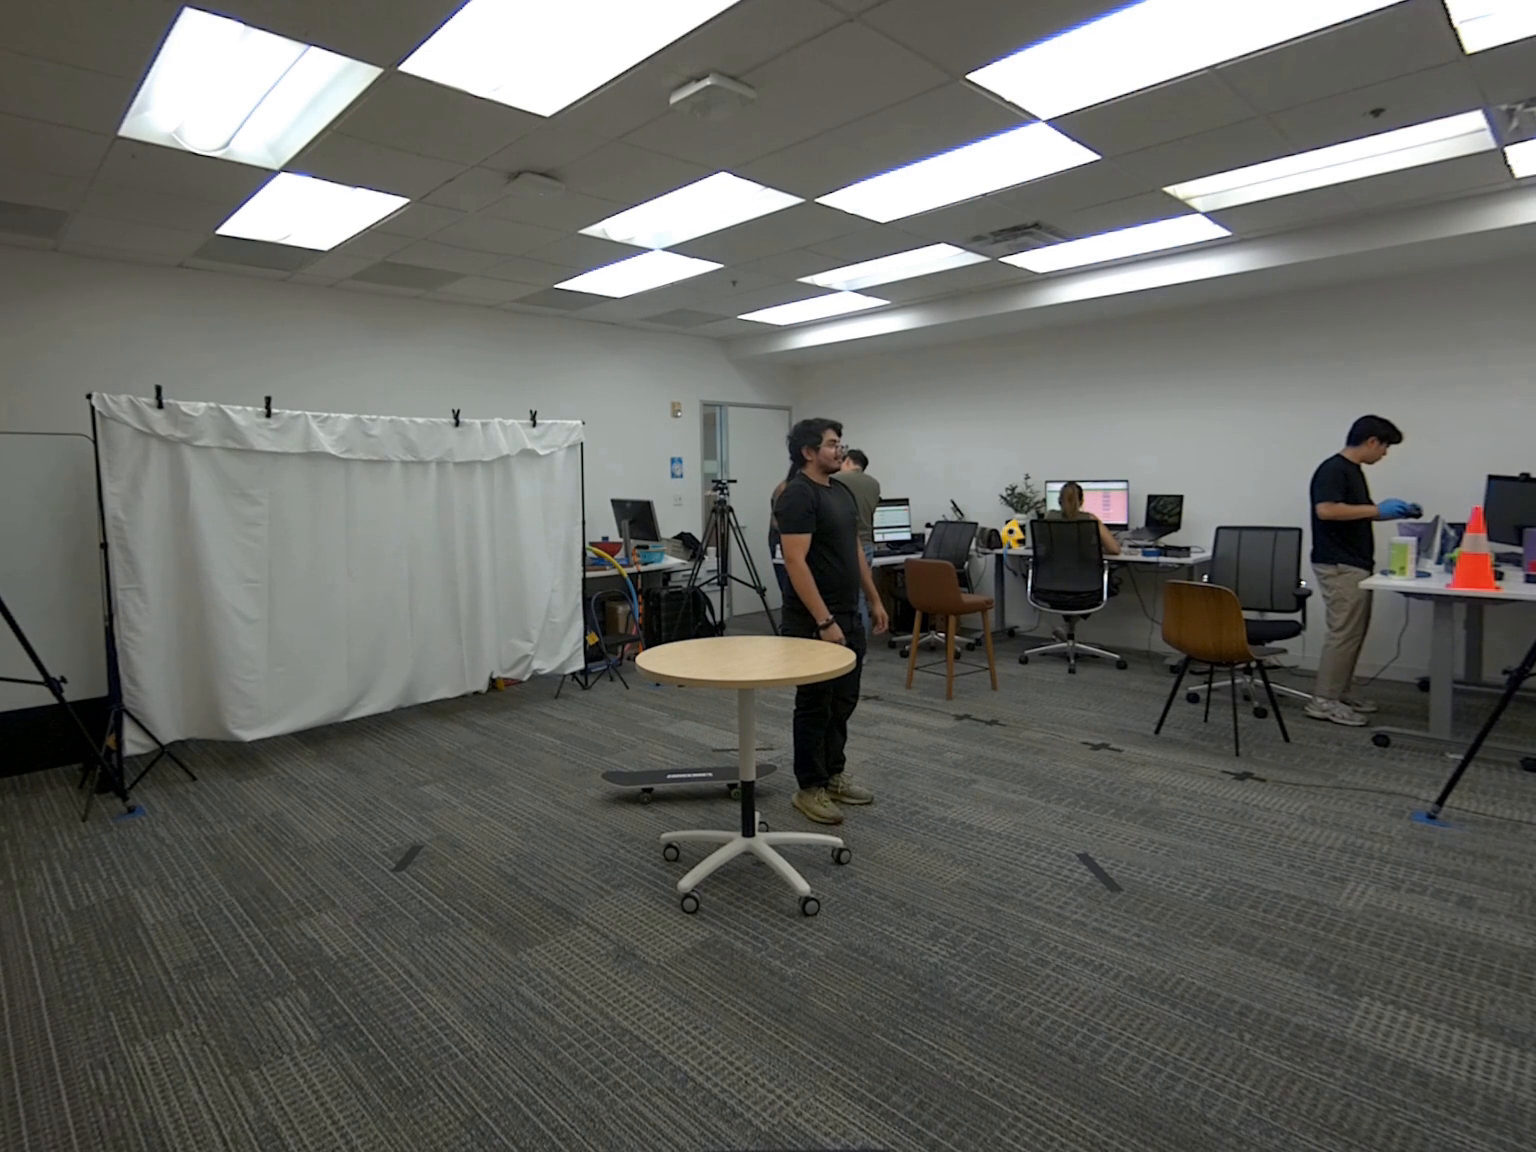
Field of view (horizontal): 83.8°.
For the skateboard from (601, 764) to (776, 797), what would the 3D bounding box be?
[{"bbox_3d":[-0.345,0.922,3.810,0.782,0.110,0.195,-2,5,-4],"label":"skateboard"}]
